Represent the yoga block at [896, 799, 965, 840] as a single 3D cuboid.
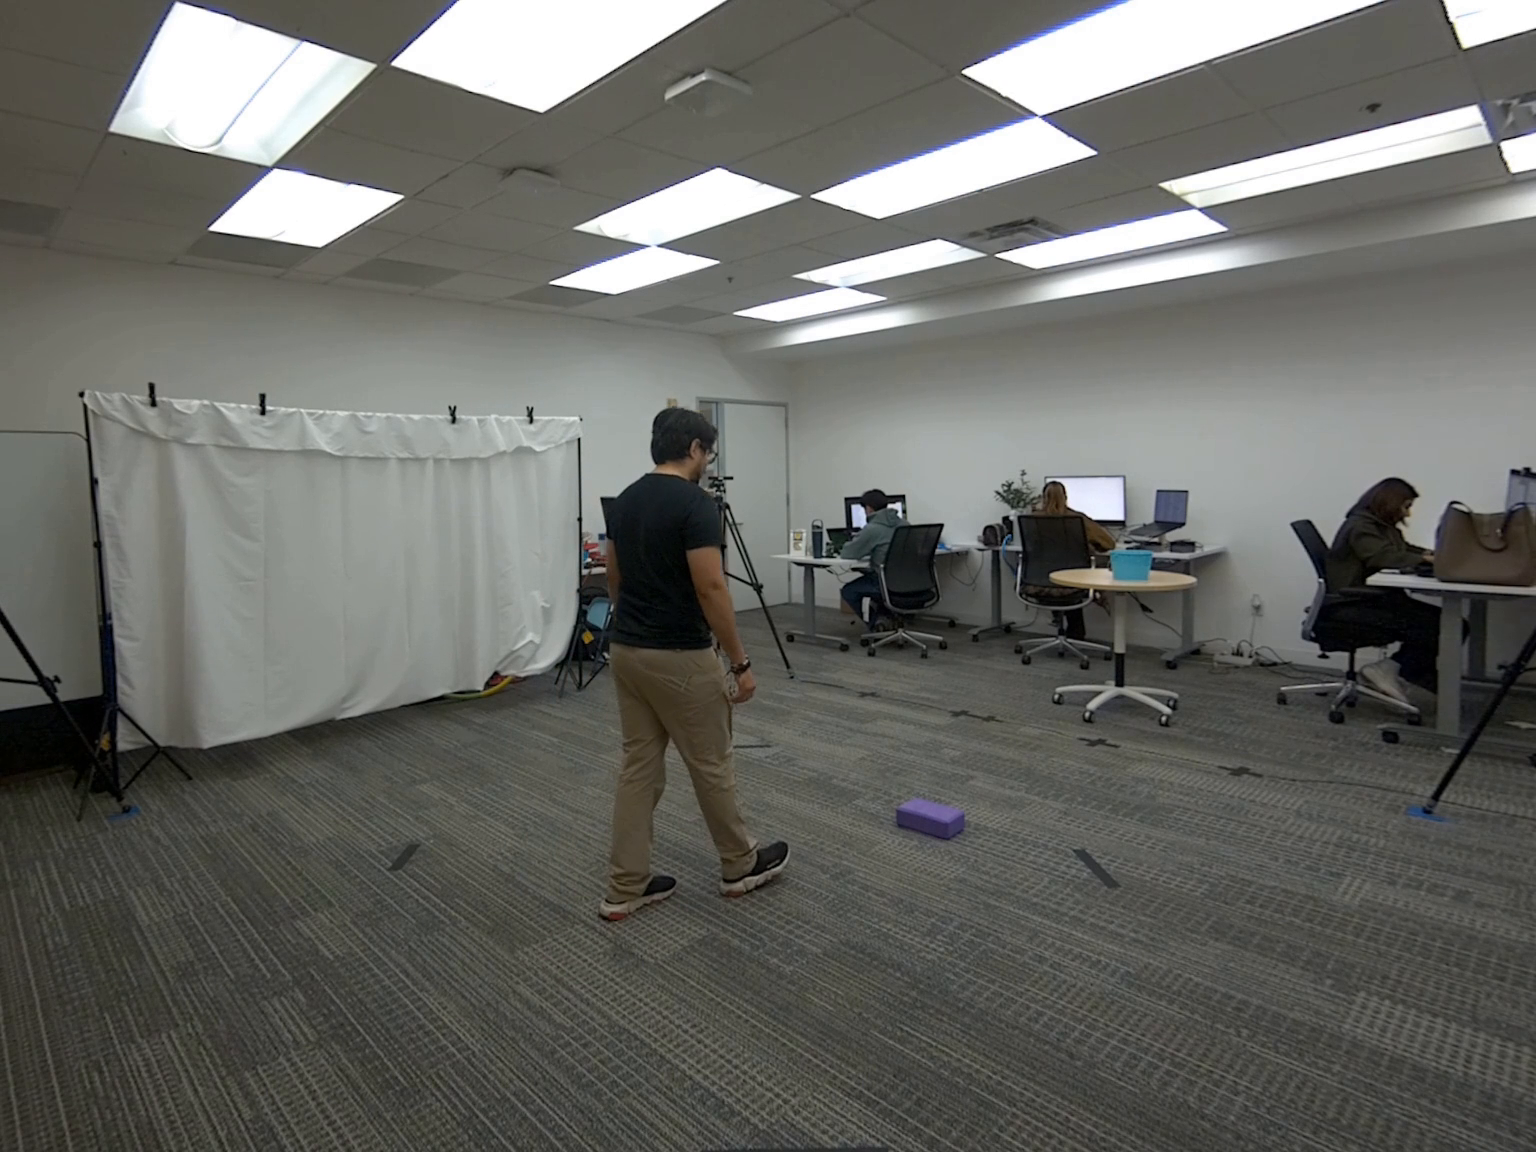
[{"bbox_3d":[0.642,0.955,3.371,0.236,0.076,0.145,5,8,42],"label":"yoga block"}]
